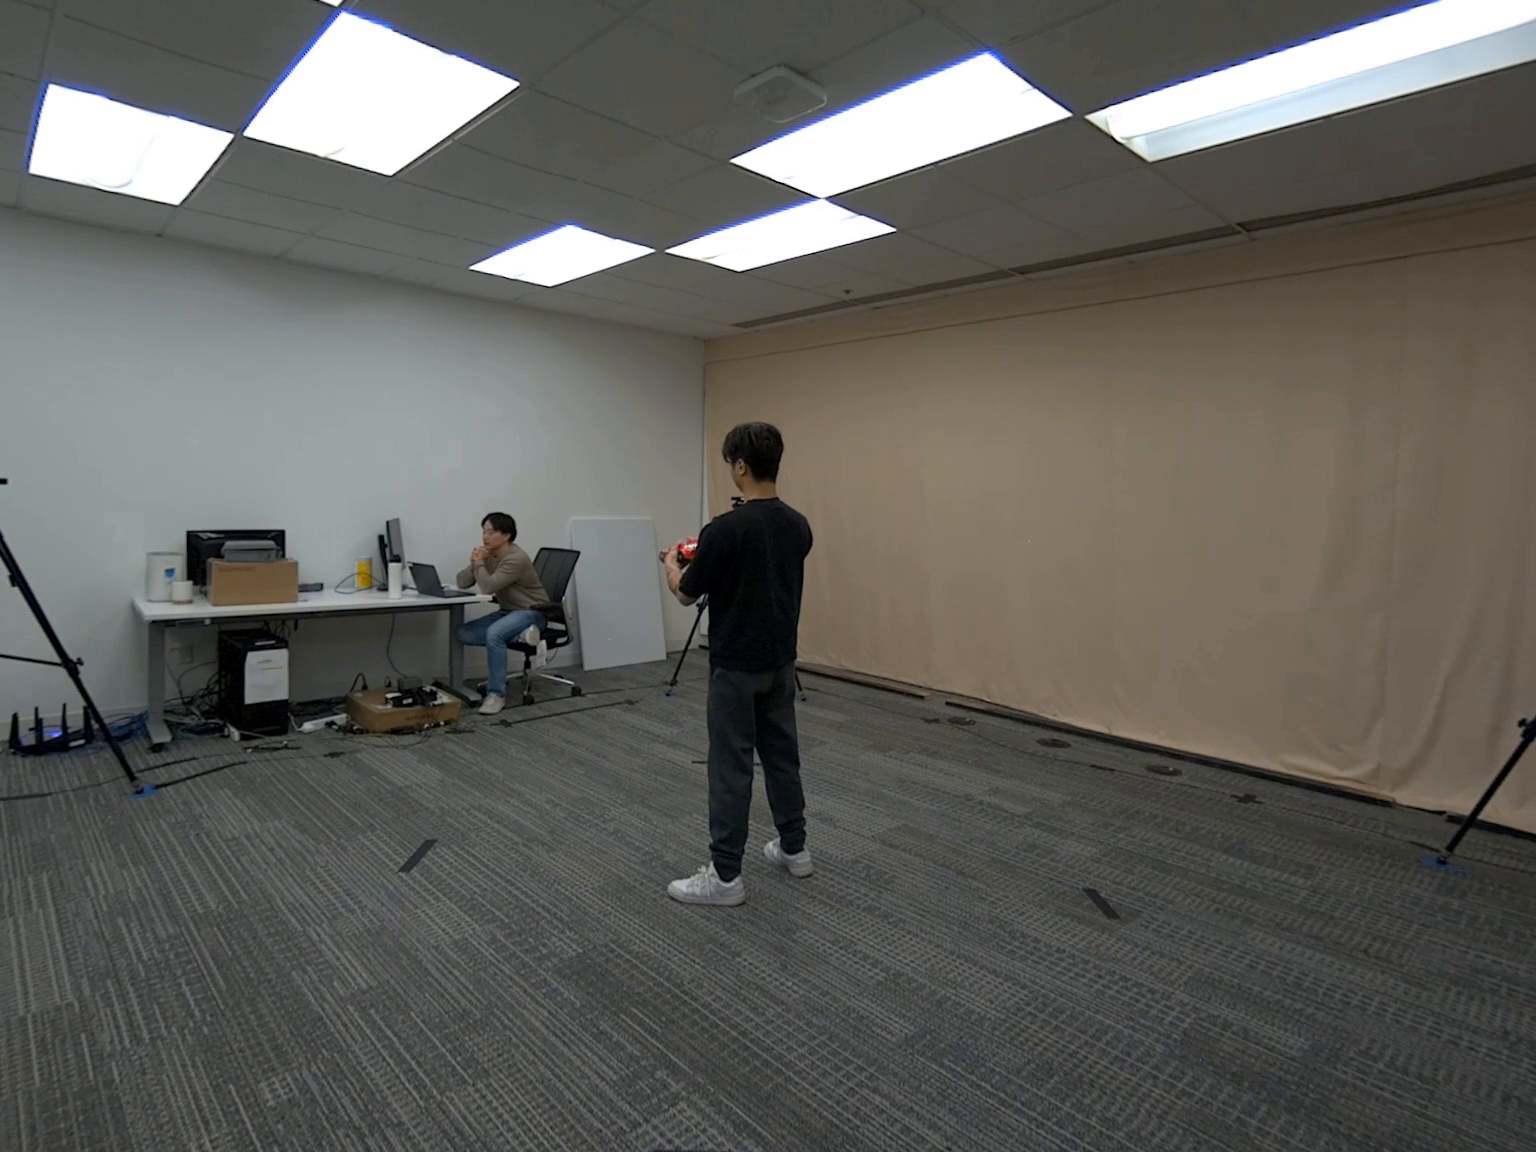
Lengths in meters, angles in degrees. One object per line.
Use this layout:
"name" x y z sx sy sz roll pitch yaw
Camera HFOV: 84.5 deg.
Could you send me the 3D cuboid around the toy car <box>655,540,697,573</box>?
"toy car" -0.313 -0.080 3.235 0.128 0.083 0.258 -10 0 -32
